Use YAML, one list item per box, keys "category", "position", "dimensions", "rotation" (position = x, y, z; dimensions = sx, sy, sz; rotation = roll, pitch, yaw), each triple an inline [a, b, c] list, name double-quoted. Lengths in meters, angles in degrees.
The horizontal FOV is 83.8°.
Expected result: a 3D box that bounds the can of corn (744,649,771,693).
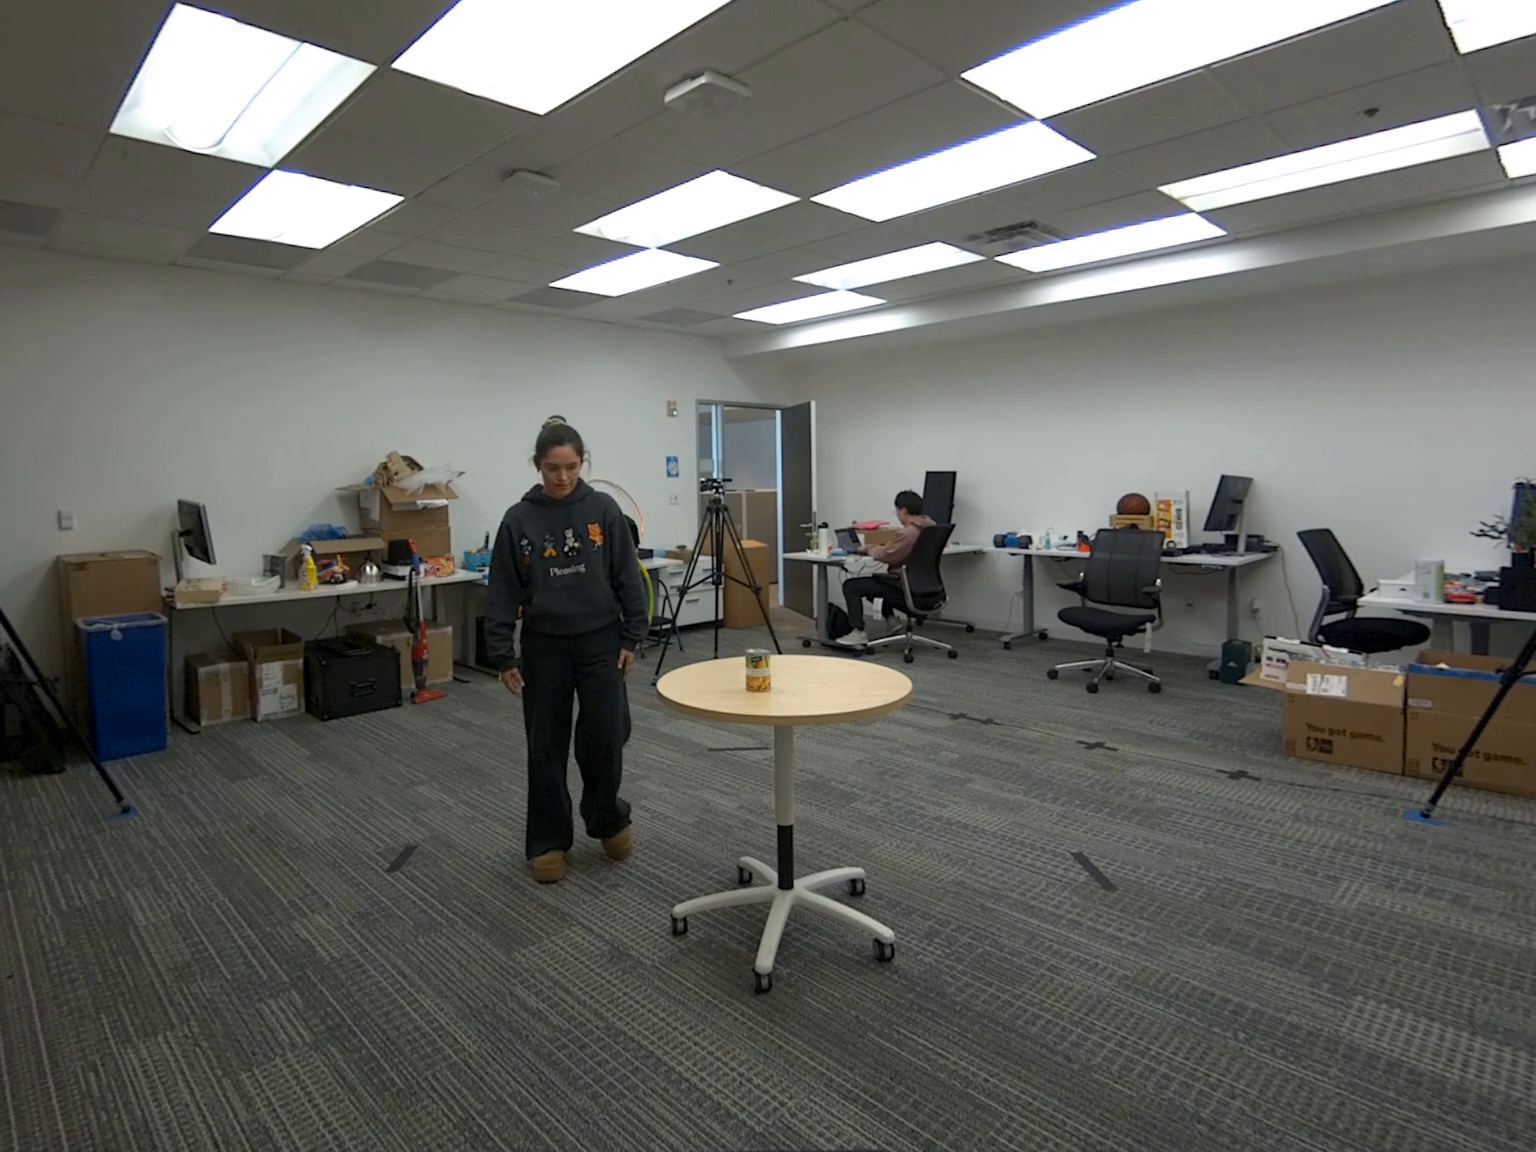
- category: "can of corn"
  position: [-0.027, 0.280, 2.480]
  dimensions: [0.074, 0.110, 0.074]
  rotation: [-4, 5, -1]
